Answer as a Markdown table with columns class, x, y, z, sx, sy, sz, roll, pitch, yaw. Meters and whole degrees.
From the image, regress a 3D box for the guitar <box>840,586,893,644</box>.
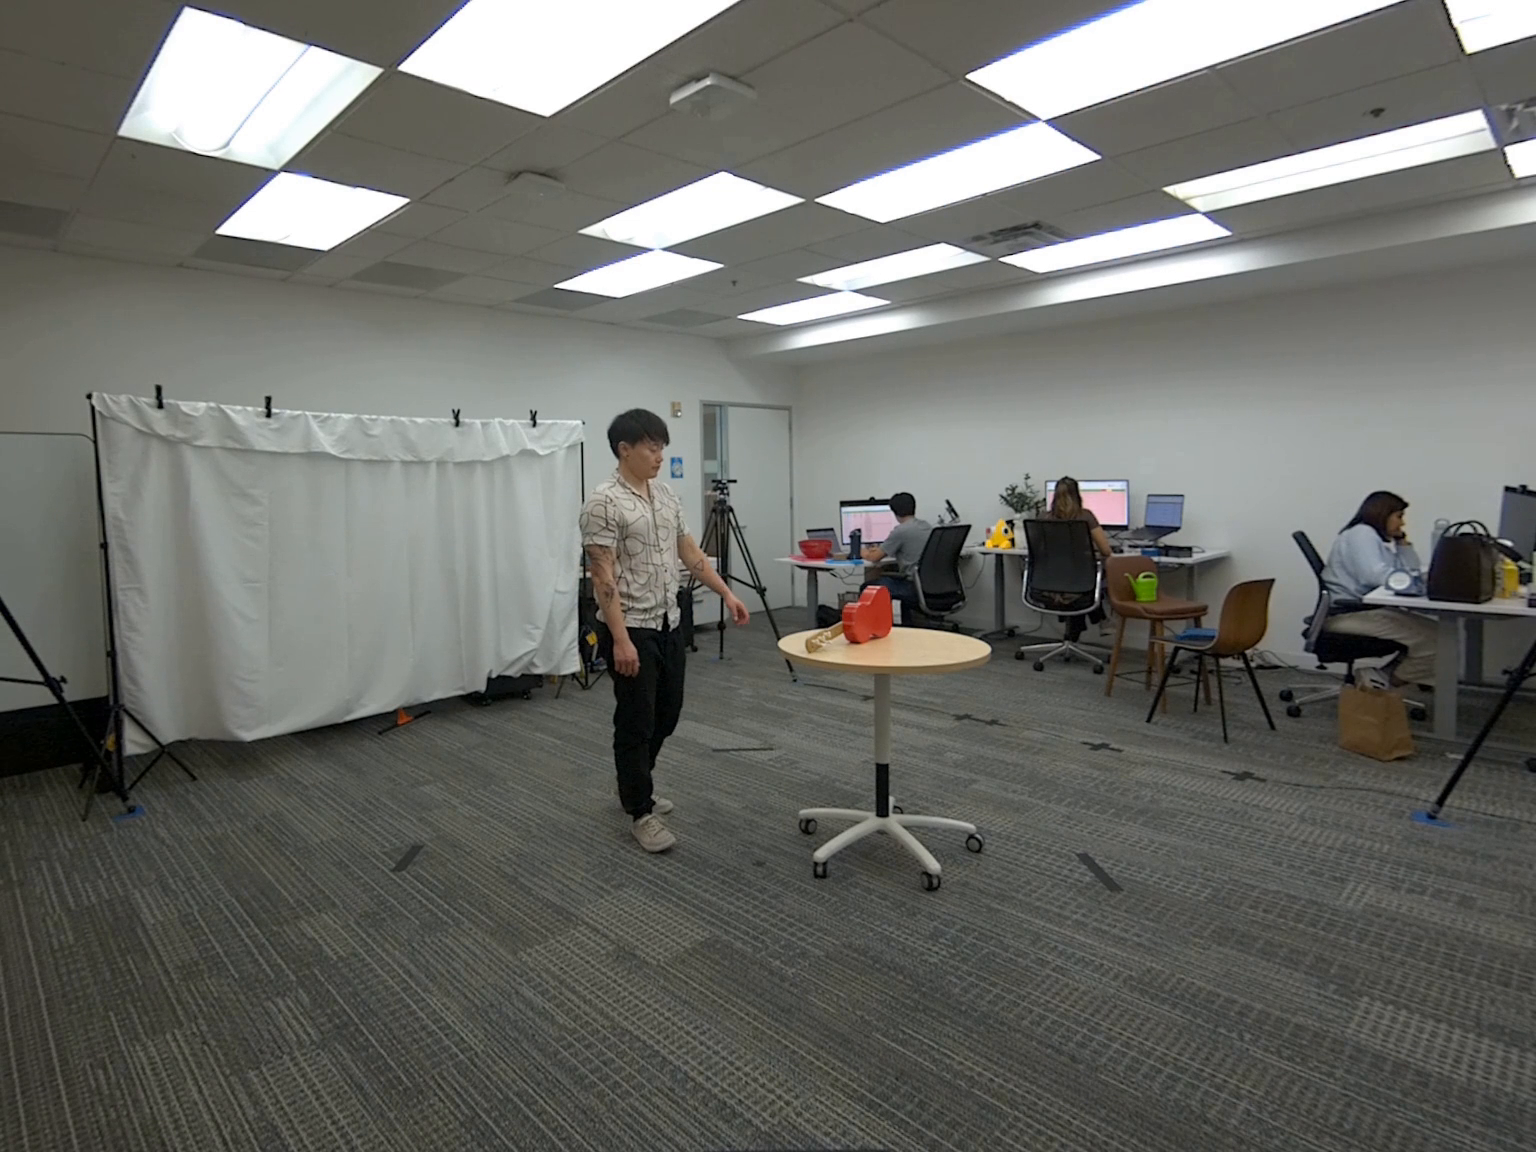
| class | x | y | z | sx | sy | sz | roll | pitch | yaw |
| --- | --- | --- | --- | --- | --- | --- | --- | --- | --- |
| guitar | 0.305 | 0.207 | 3.156 | 0.073 | 0.189 | 0.493 | 2 | 25 | 39 |
